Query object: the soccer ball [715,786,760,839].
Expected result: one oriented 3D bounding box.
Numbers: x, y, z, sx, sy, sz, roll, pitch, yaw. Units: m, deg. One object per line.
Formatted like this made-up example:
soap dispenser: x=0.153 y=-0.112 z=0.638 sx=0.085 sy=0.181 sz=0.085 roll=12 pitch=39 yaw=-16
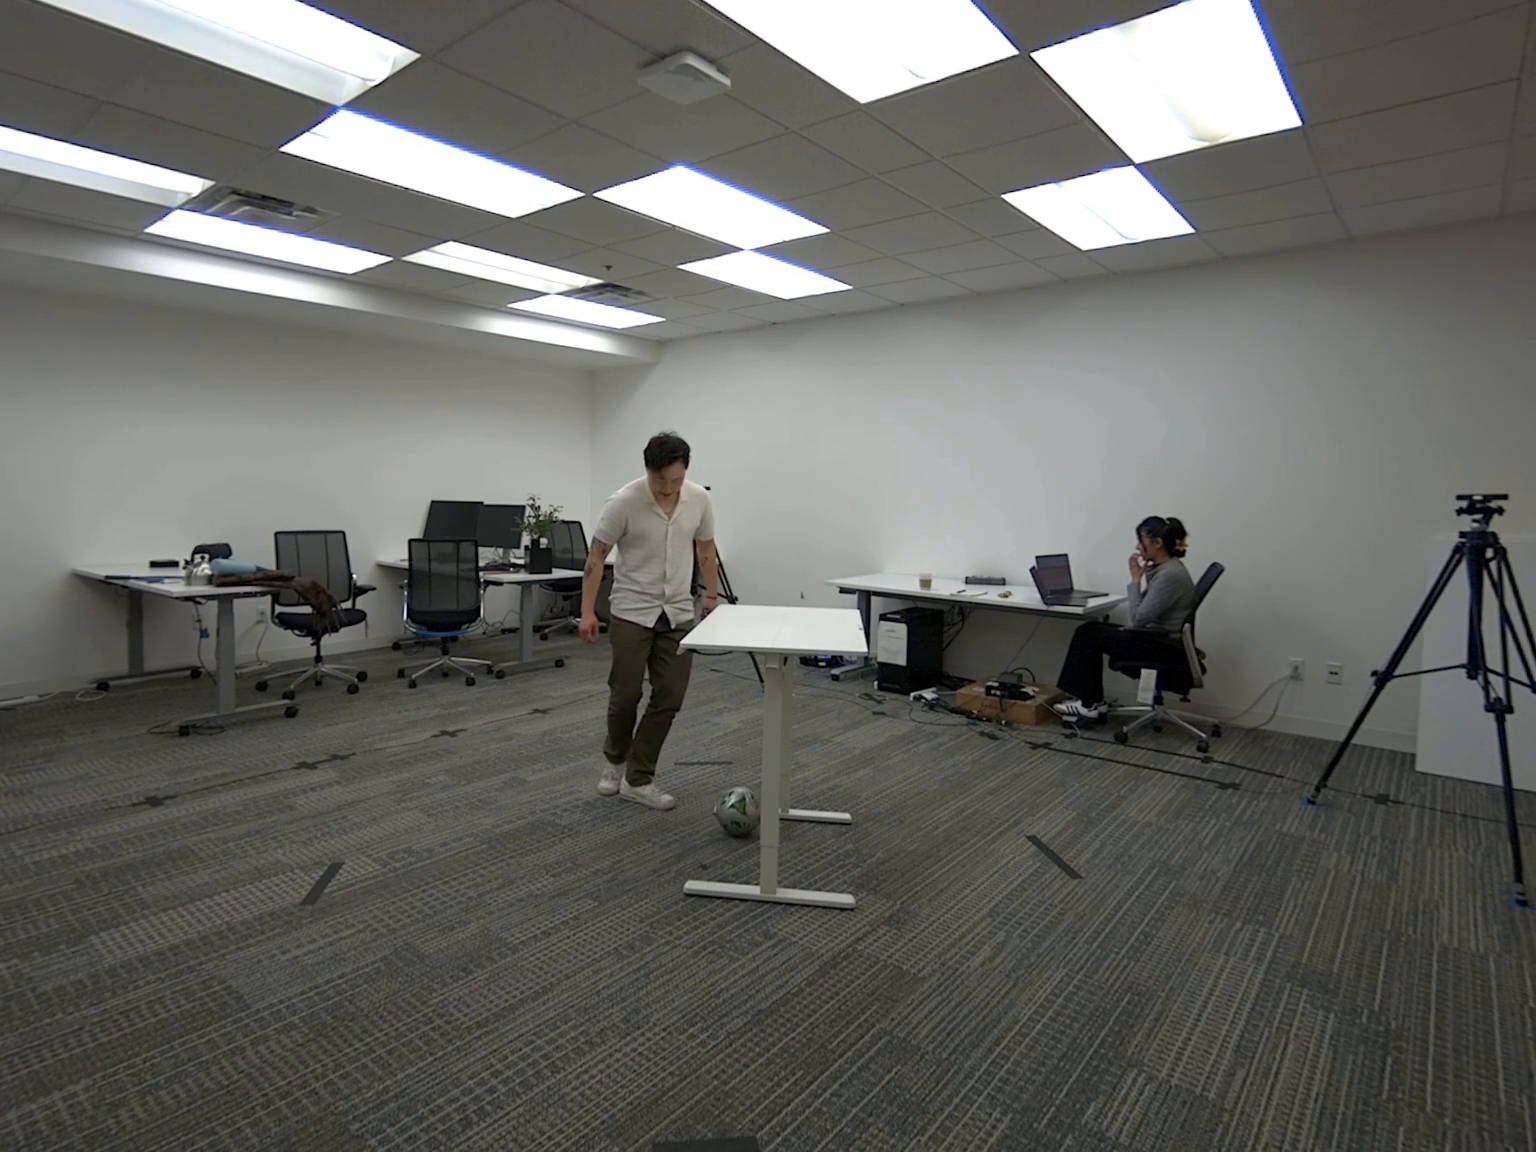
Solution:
soccer ball: x=-0.125 y=0.941 z=3.414 sx=0.187 sy=0.187 sz=0.188 roll=1 pitch=4 yaw=-2
